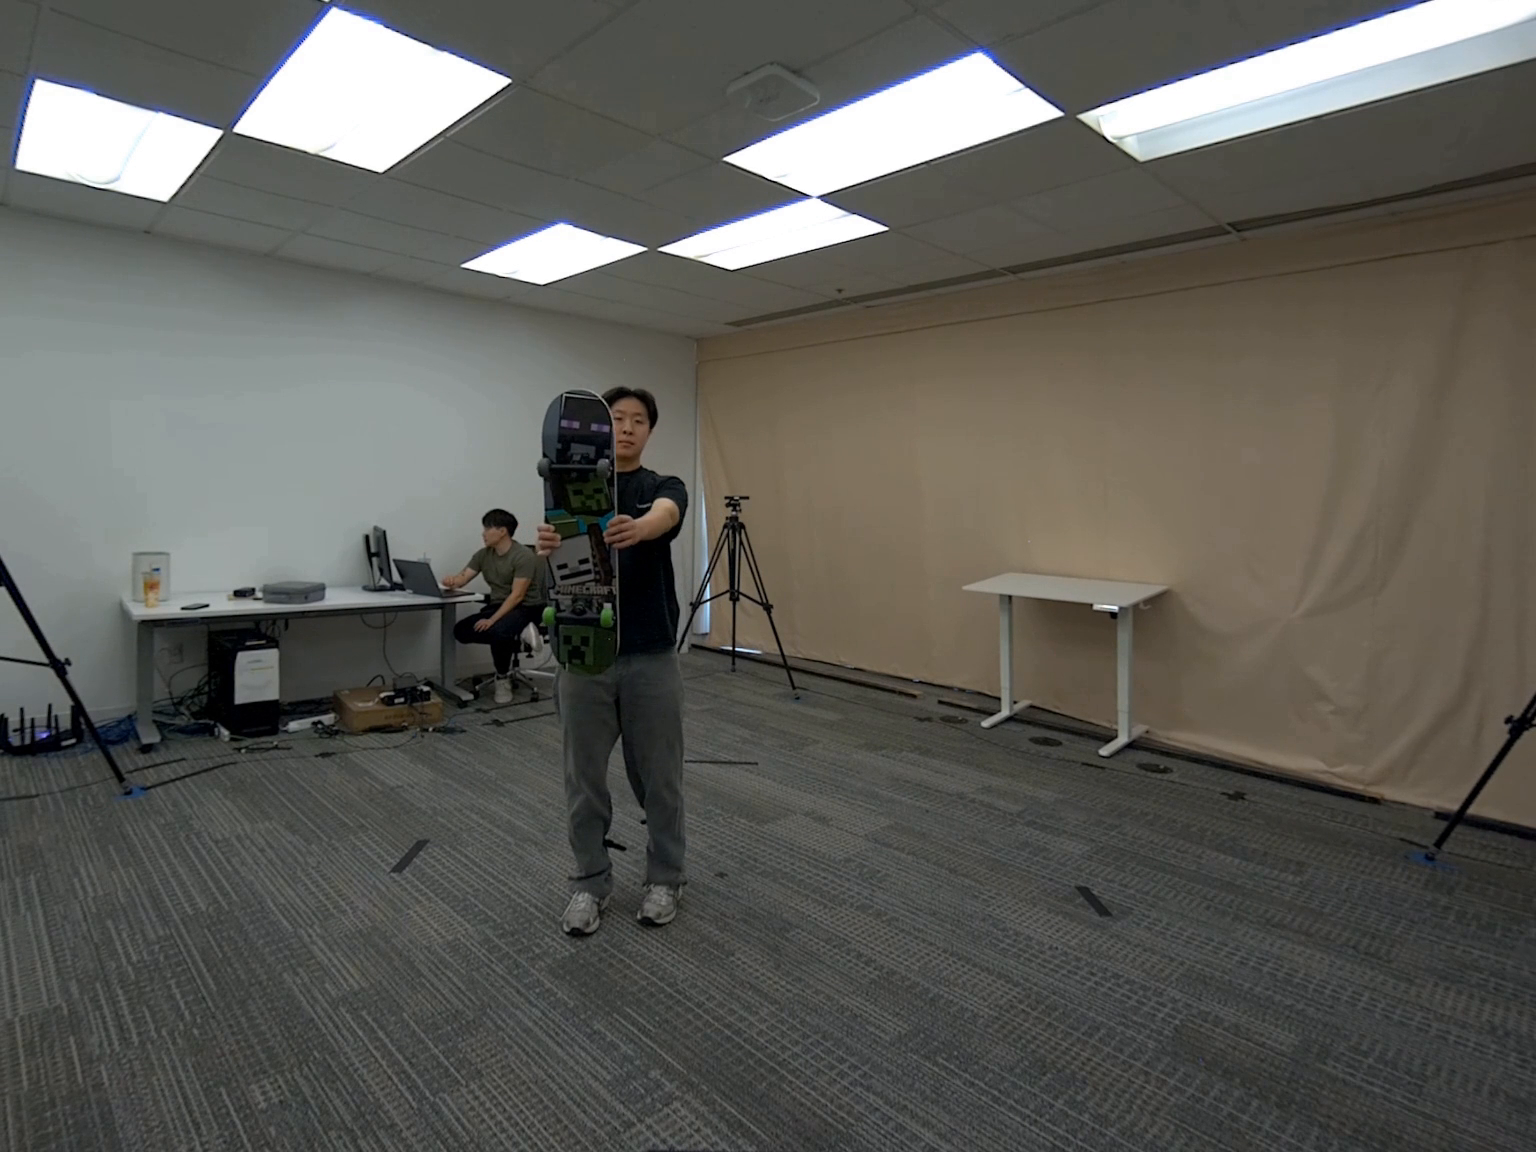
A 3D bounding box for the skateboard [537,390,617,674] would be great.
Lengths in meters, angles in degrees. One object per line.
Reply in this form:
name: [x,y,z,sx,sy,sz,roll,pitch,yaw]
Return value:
skateboard: [-0.500,-0.085,2.221,0.194,0.778,0.111,1,12,3]
